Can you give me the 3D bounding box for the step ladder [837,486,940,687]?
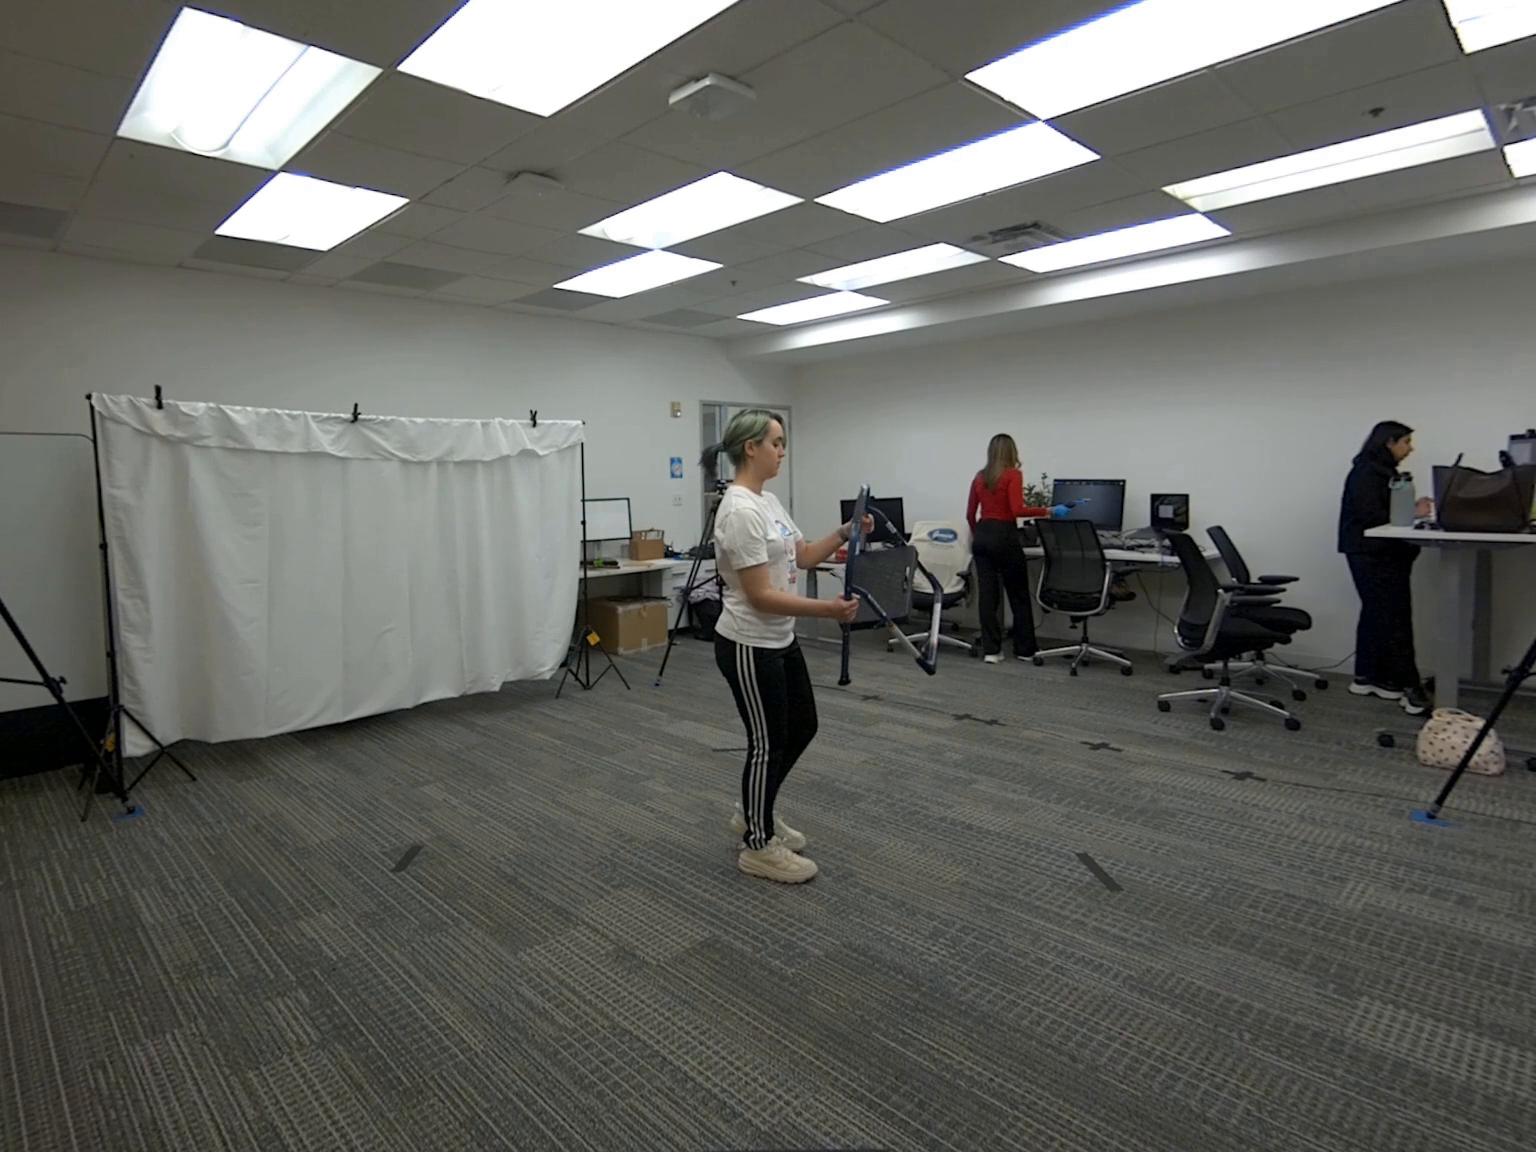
[{"bbox_3d":[0.339,0.002,2.919,0.356,0.585,0.438,-10,38,25],"label":"step ladder"}]
